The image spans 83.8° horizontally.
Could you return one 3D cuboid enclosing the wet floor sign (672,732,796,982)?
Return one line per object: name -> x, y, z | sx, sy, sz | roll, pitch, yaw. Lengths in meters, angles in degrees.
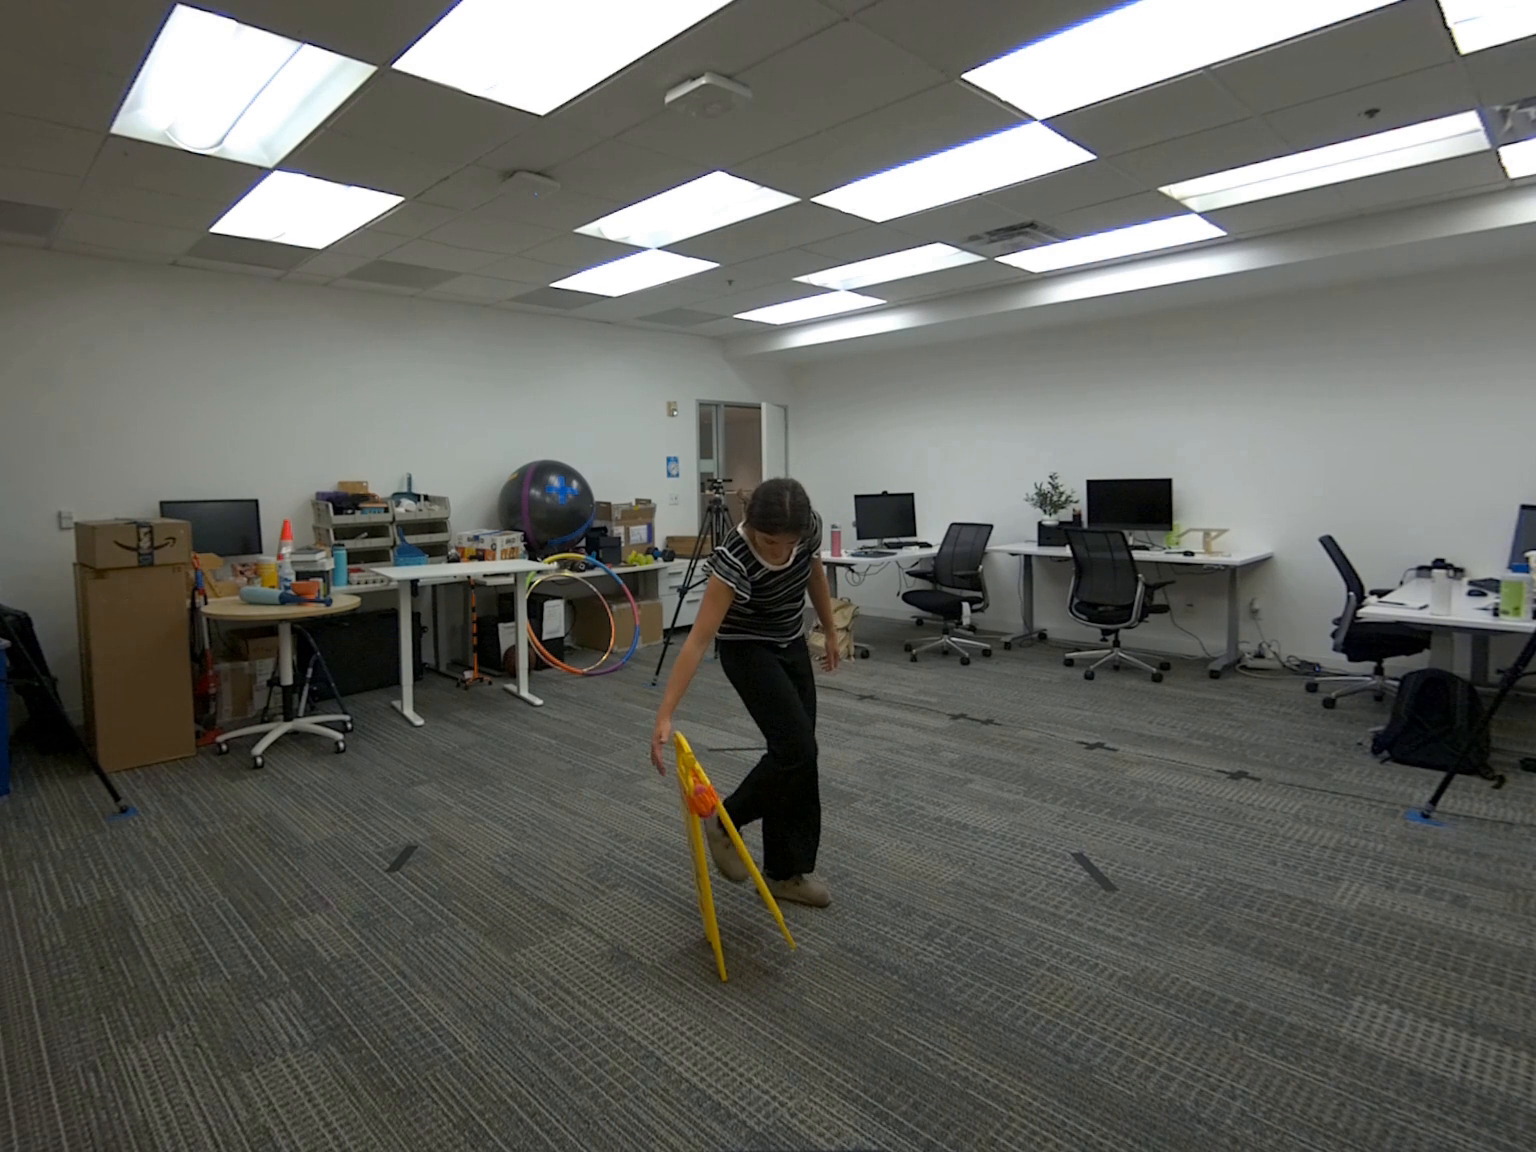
wet floor sign -> -0.153, 0.779, 2.489 | 0.287, 0.641, 0.286 | -19, 7, -12
